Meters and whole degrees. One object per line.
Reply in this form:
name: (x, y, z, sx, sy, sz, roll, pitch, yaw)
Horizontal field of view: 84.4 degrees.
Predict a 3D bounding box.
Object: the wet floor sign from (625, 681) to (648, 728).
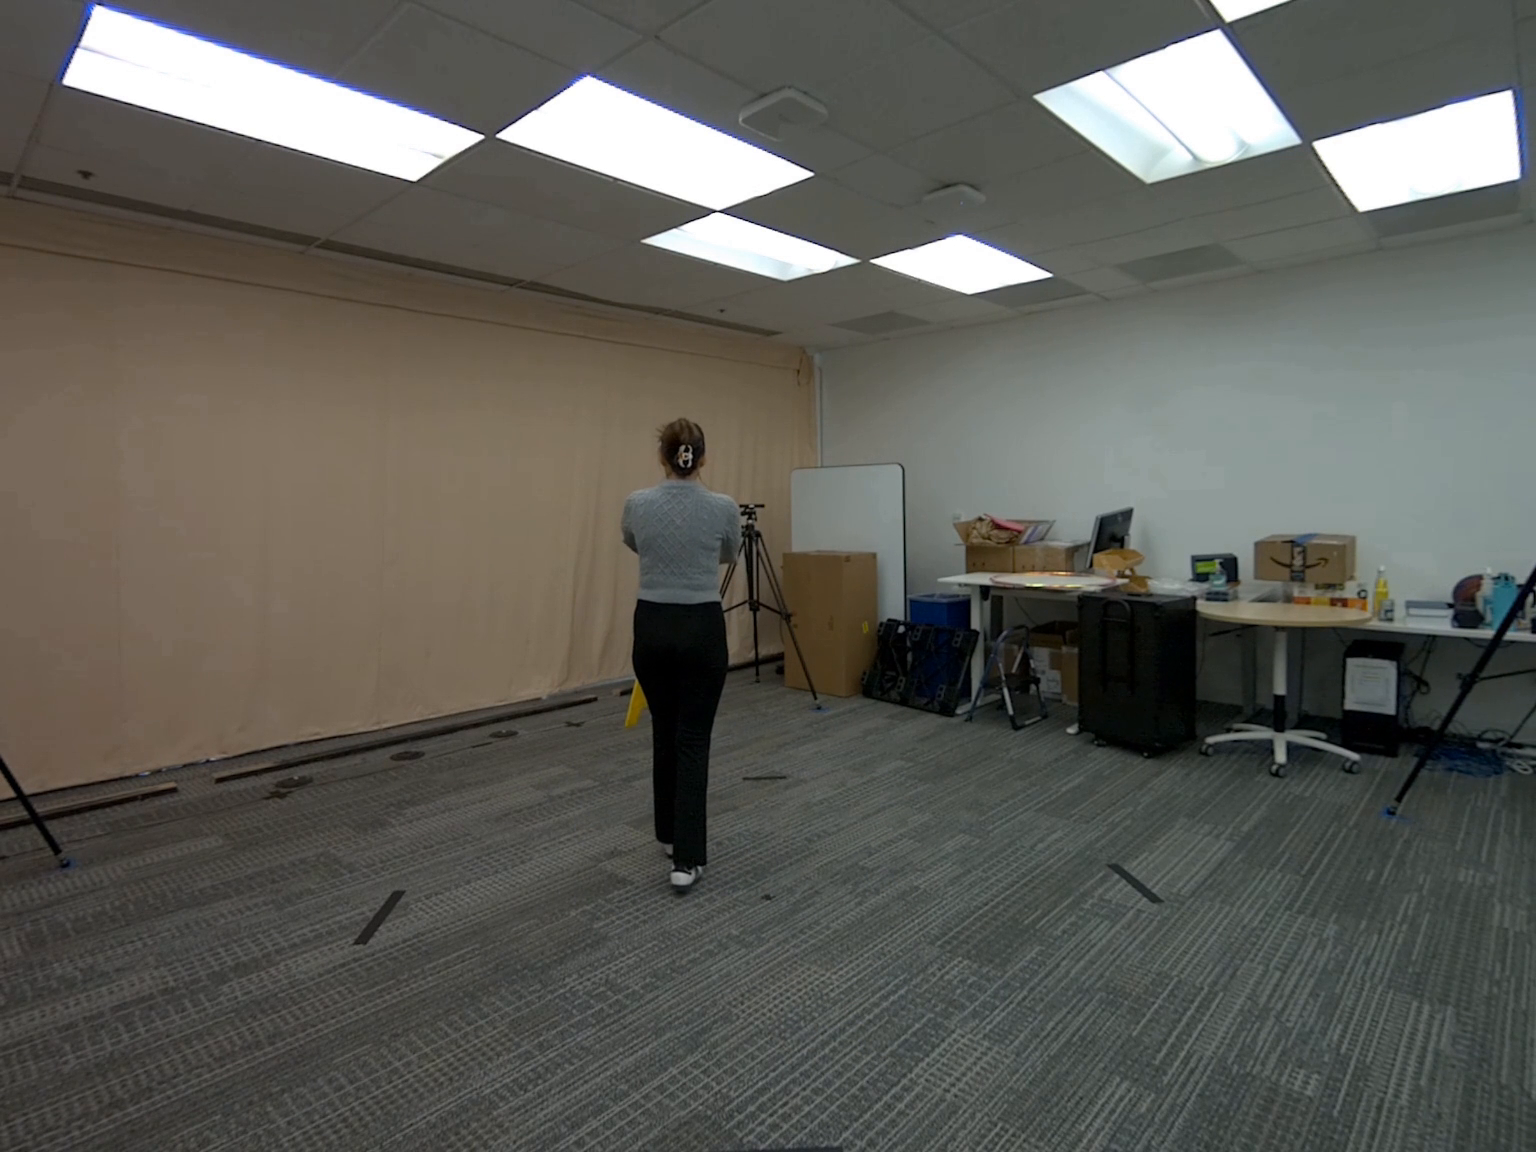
wet floor sign: (-0.422, 0.341, 3.712, 0.297, 0.646, 0.275, 2, 1, 26)
